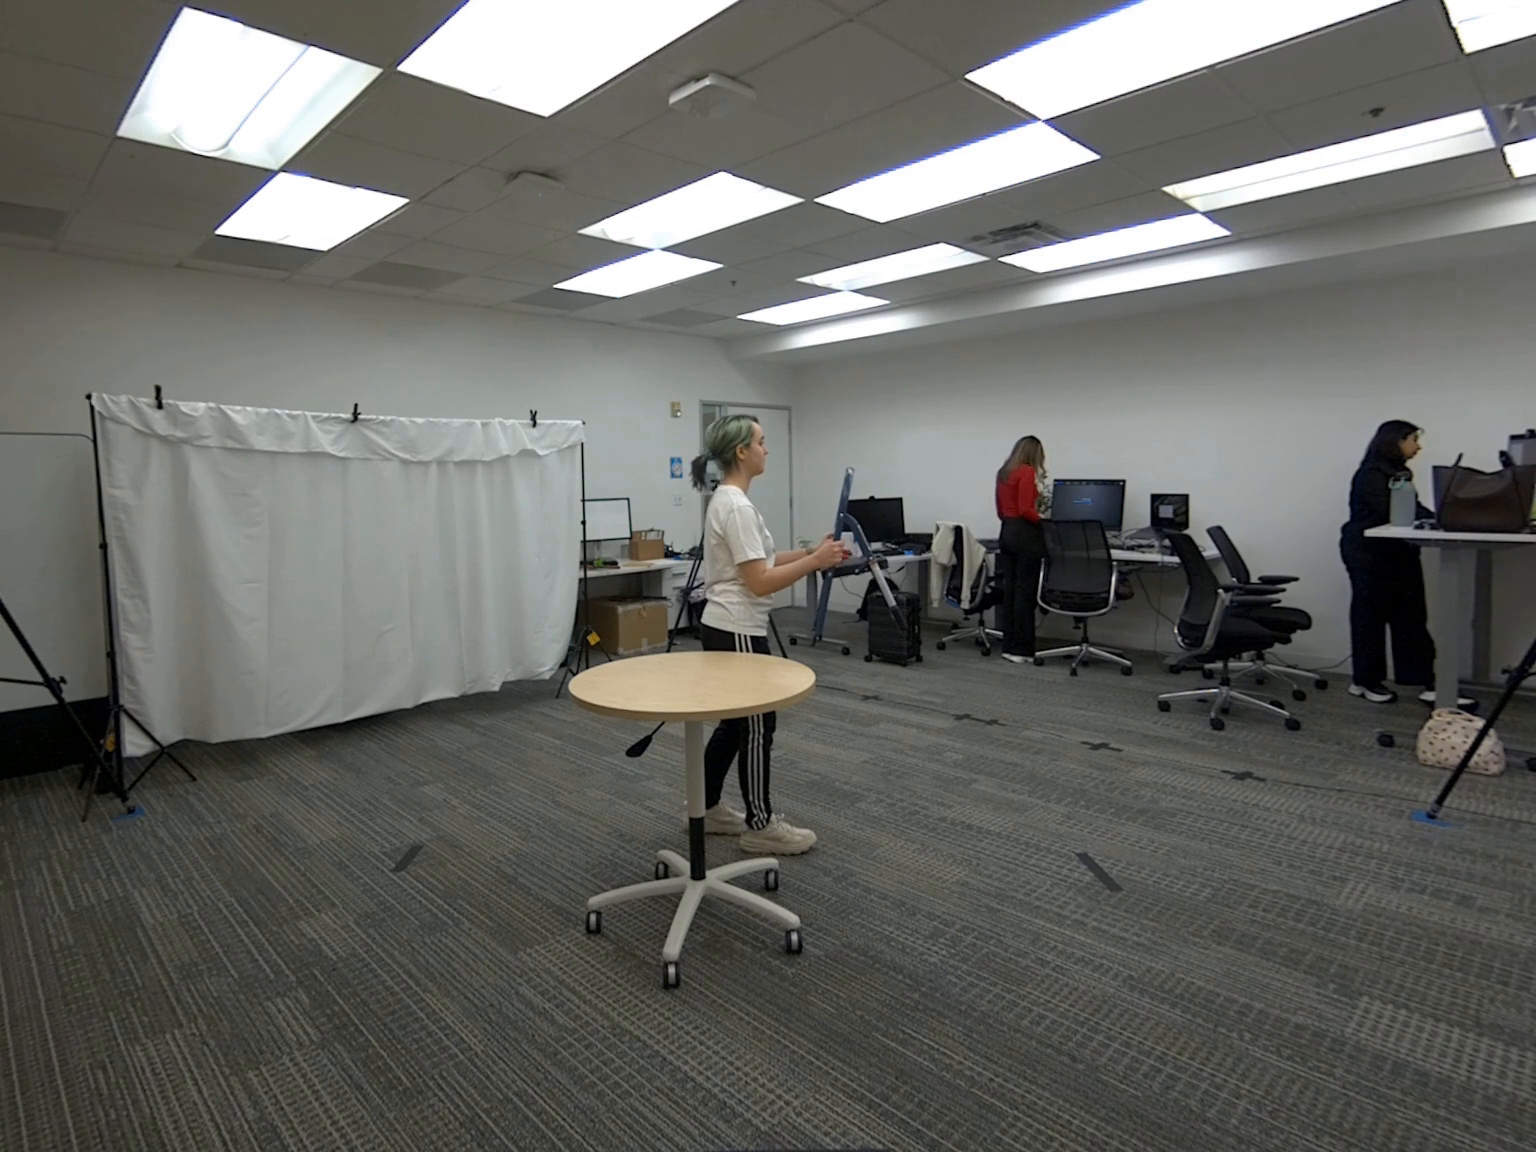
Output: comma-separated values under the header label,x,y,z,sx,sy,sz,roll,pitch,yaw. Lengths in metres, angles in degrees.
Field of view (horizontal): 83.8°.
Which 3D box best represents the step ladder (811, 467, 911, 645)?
label,x,y,z,sx,sy,sz,roll,pitch,yaw
step ladder,0.278,-0.090,3.227,0.351,0.606,0.429,-9,1,4
